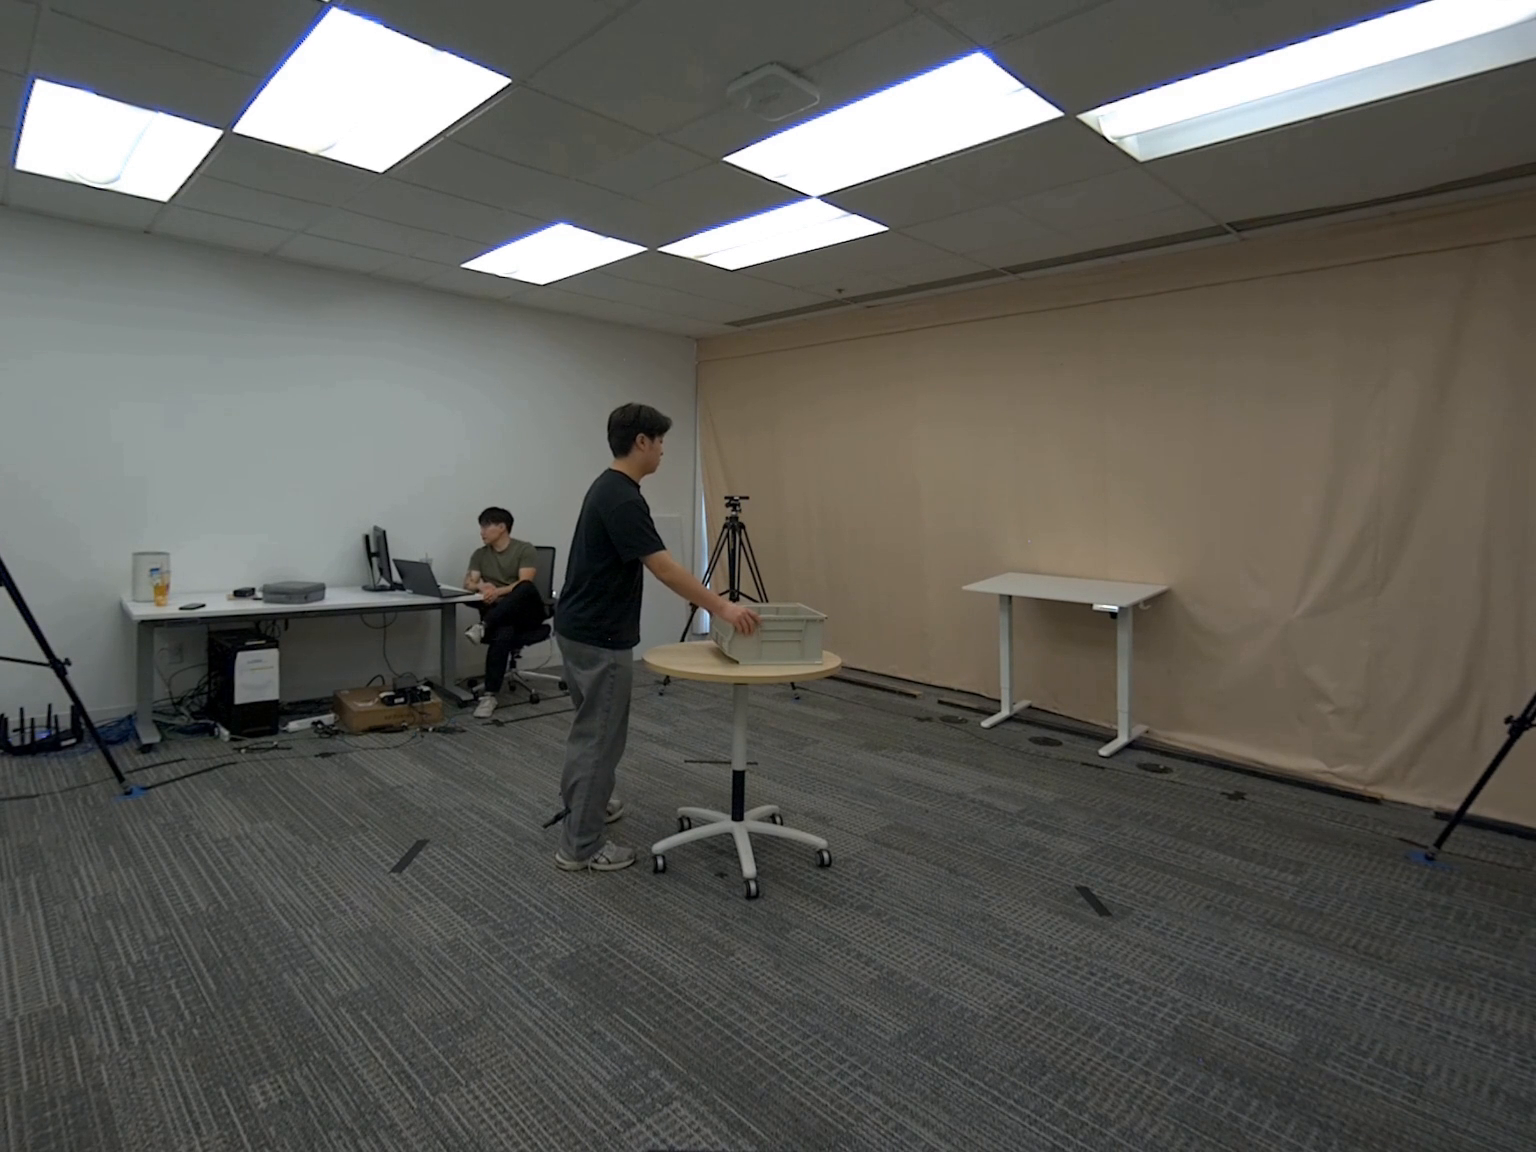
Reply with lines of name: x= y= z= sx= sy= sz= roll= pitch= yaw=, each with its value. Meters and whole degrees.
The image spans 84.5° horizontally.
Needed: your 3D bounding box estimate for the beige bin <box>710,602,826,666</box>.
beige bin: x=-0.016 y=0.221 z=3.285 sx=0.374 sy=0.188 sz=0.427 roll=1 pitch=4 yaw=-12
